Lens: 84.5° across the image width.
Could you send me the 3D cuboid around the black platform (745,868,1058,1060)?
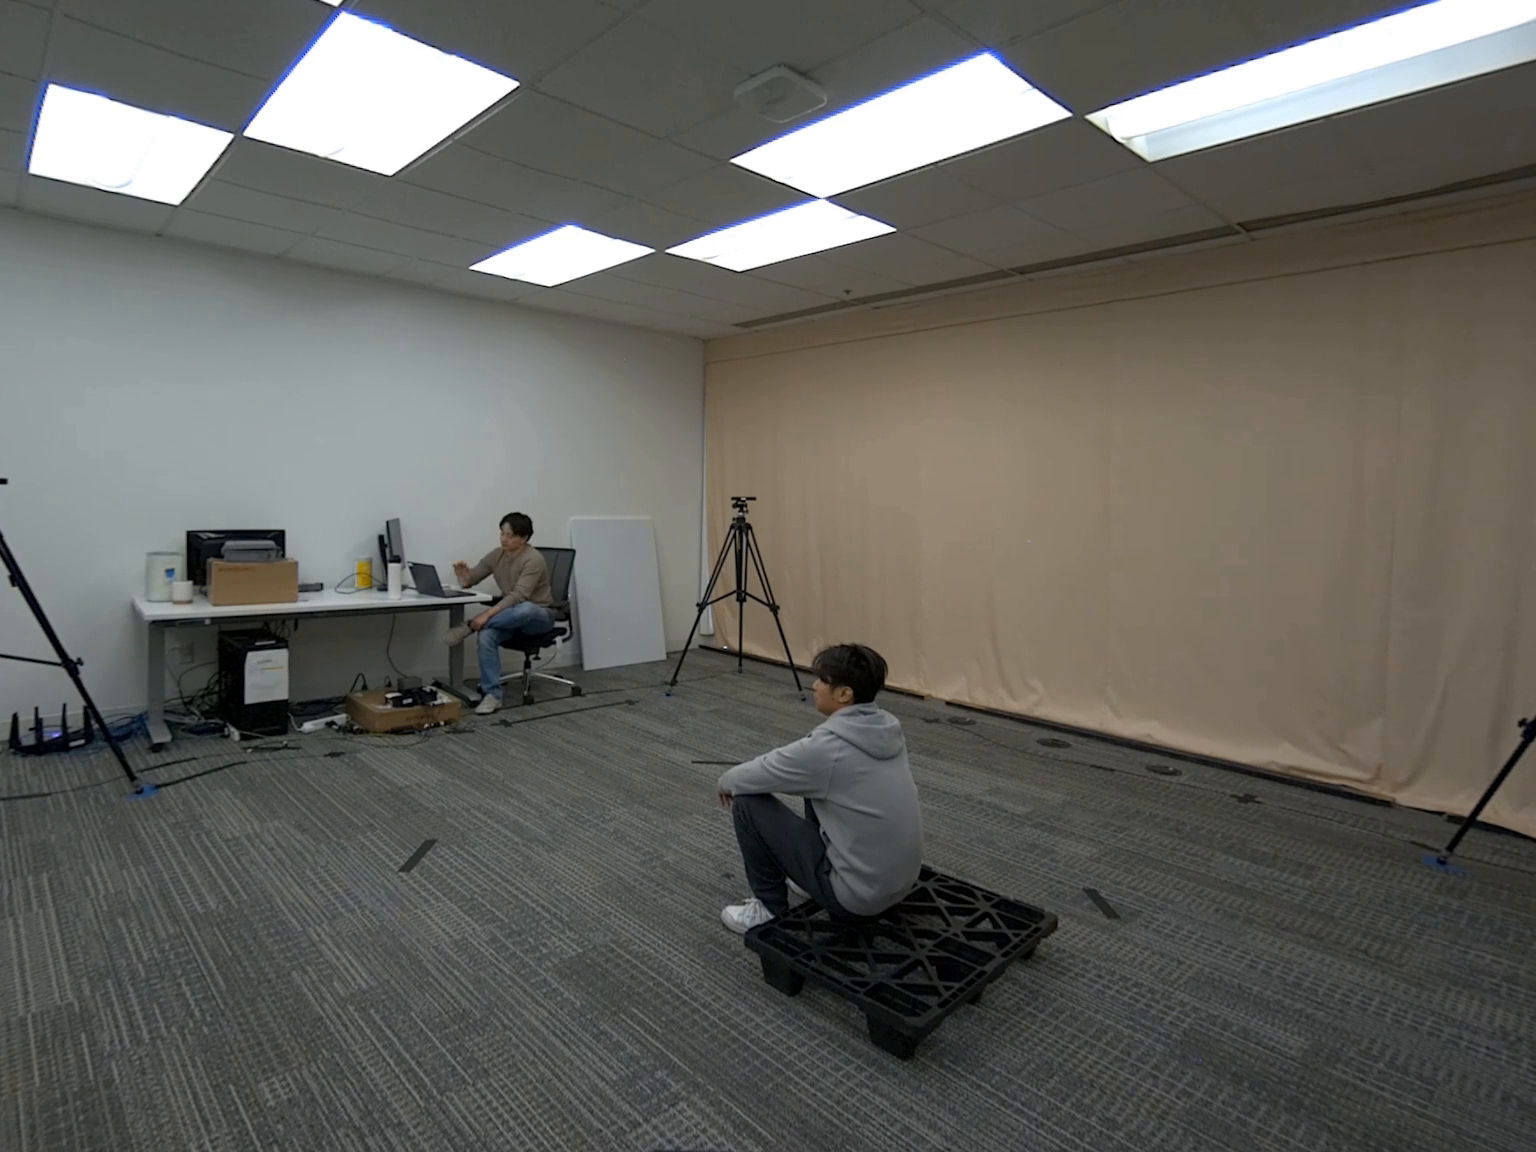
[{"bbox_3d":[0.400,1.109,2.518,0.620,0.143,0.787,6,7,43],"label":"black platform"}]
